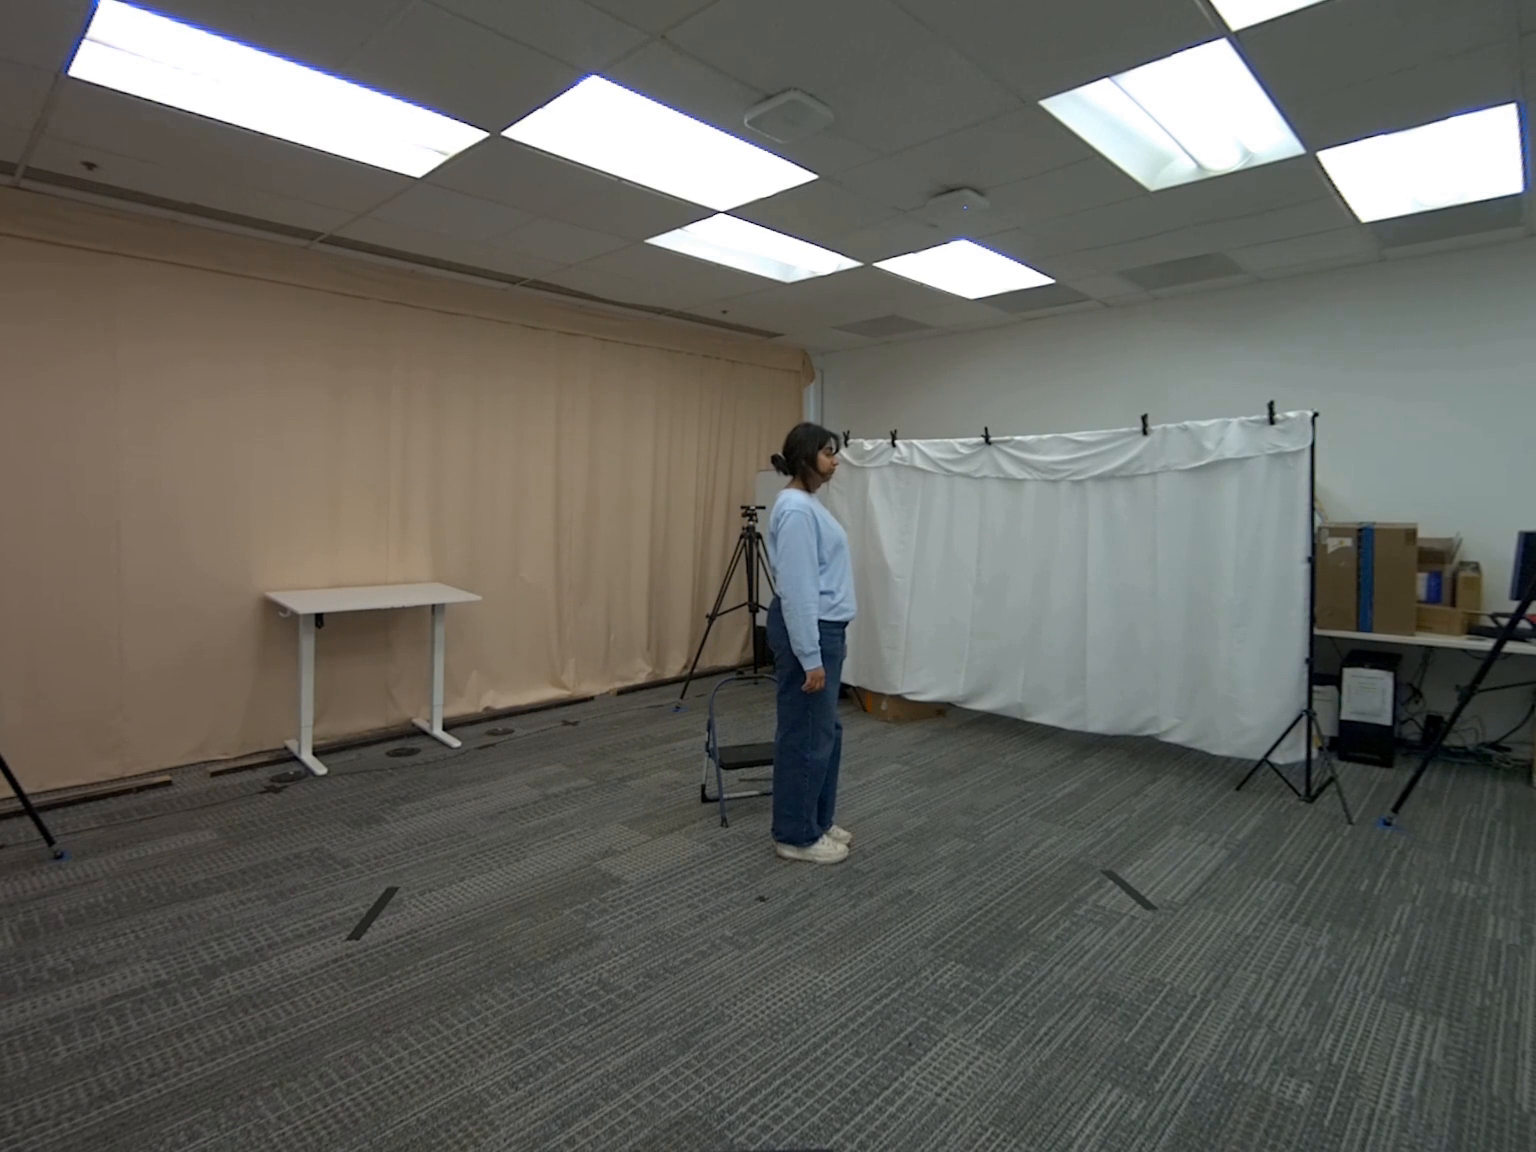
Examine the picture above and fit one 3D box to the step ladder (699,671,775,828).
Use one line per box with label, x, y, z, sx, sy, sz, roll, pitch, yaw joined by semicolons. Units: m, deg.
step ladder;-0.064;0.772;3.867;0.422;0.605;0.357;-1;3;-20
